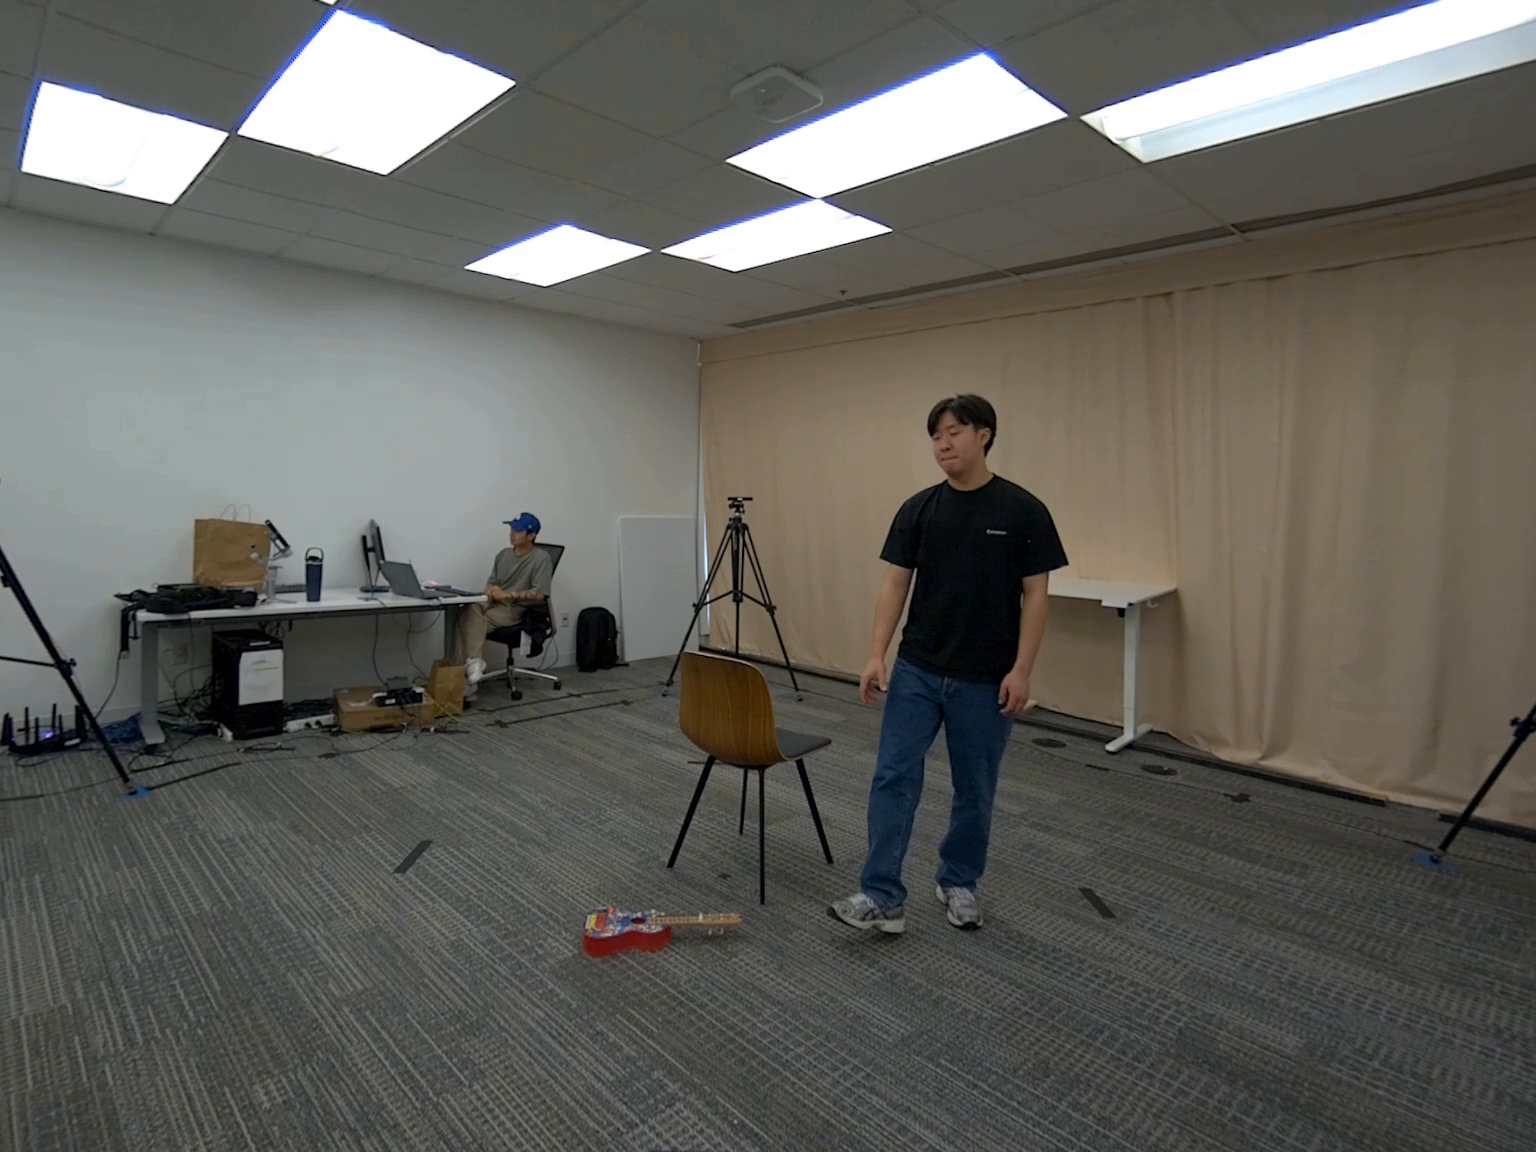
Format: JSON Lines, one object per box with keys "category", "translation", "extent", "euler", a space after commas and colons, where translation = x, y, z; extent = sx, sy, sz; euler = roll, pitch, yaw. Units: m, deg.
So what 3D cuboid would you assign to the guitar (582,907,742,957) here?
{"category": "guitar", "translation": [-0.336, 1.110, 2.619], "extent": [0.500, 0.070, 0.193], "euler": [2, 4, 5]}
